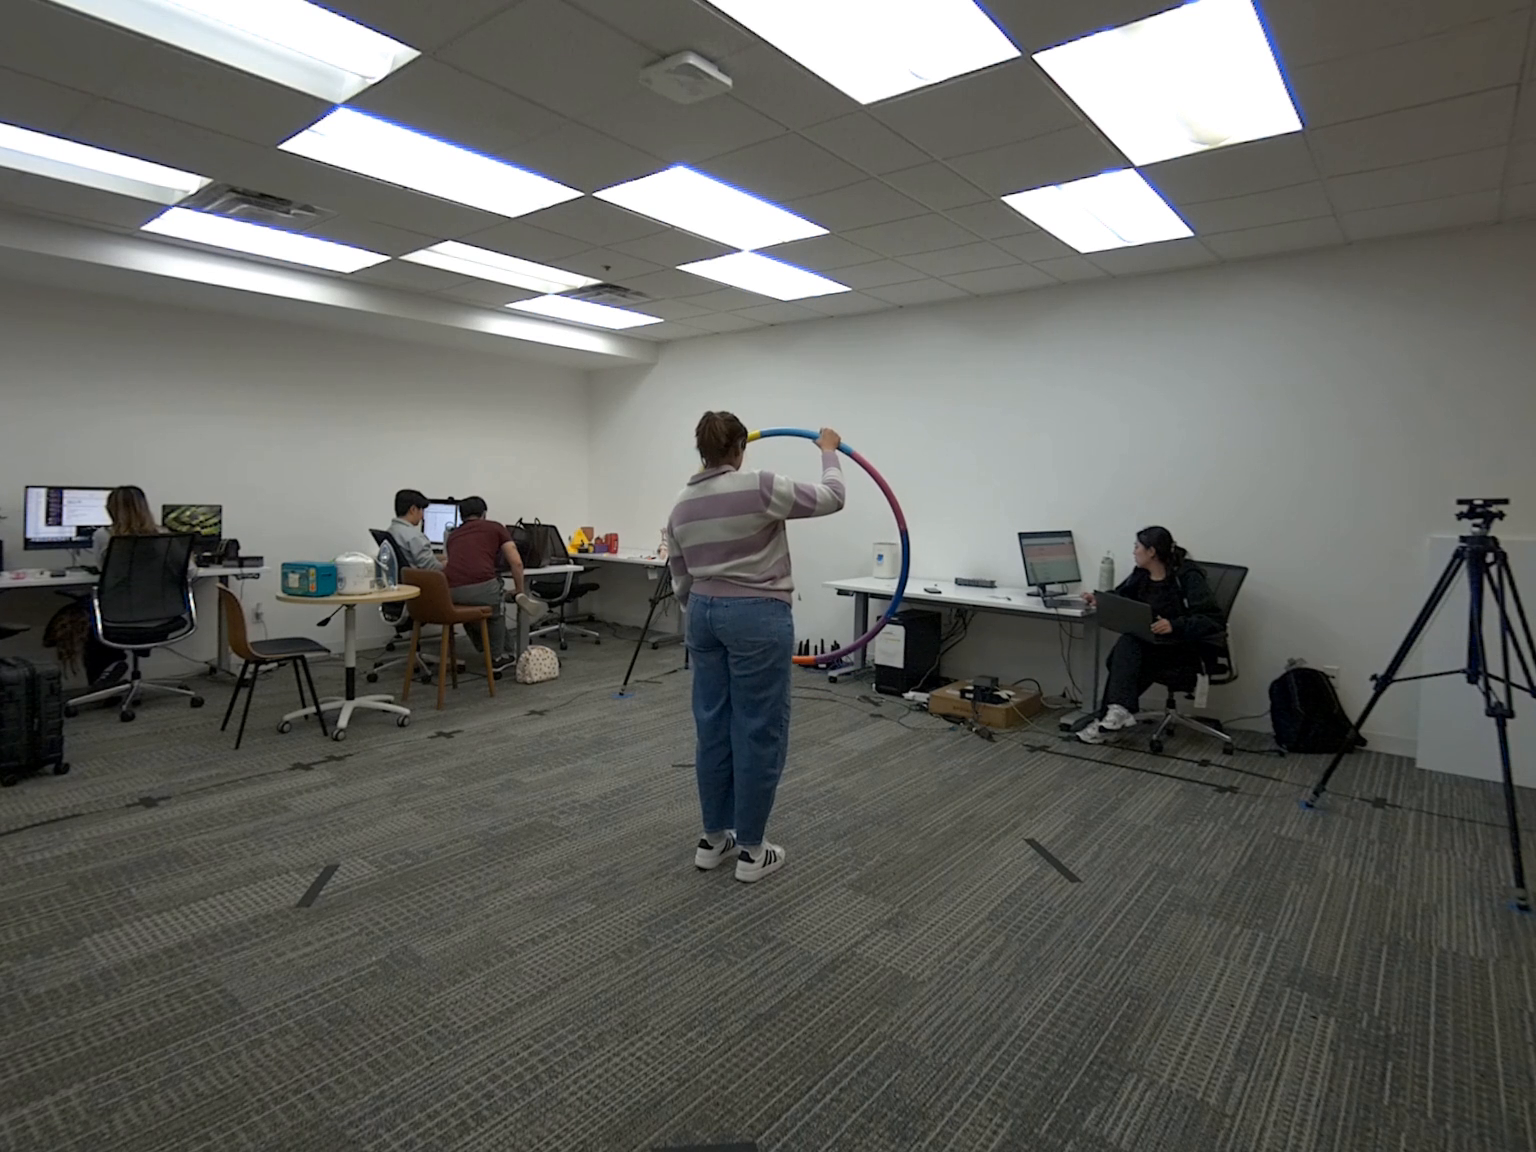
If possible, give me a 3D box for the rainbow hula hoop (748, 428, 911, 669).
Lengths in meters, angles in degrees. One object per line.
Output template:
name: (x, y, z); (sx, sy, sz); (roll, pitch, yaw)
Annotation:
rainbow hula hoop: (0.066, -0.113, 3.446); (1.000, 0.964, 0.035); (3, 16, 20)
